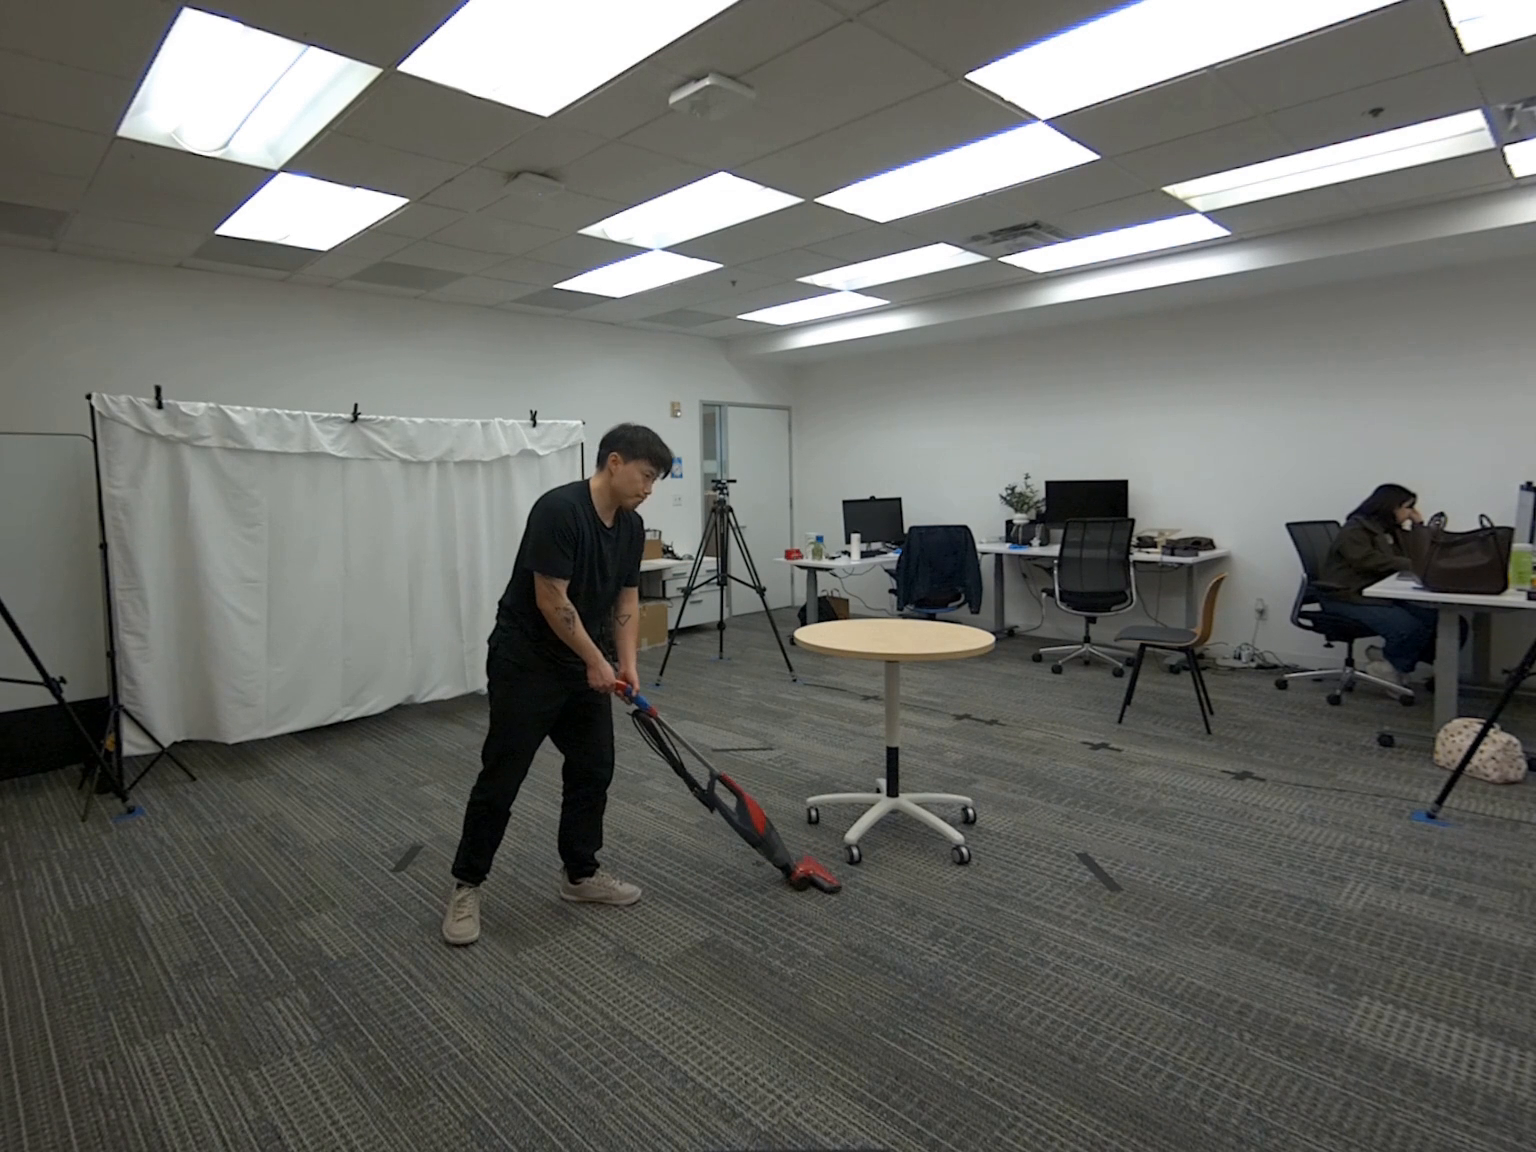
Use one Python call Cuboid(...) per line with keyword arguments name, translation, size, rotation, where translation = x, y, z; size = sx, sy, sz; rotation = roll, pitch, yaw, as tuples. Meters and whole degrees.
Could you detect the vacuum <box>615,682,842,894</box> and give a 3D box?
Cuboid(name="vacuum", translation=(-0.199, 0.695, 2.829), size=(0.144, 1.027, 0.258), rotation=(-49, 17, -13))
